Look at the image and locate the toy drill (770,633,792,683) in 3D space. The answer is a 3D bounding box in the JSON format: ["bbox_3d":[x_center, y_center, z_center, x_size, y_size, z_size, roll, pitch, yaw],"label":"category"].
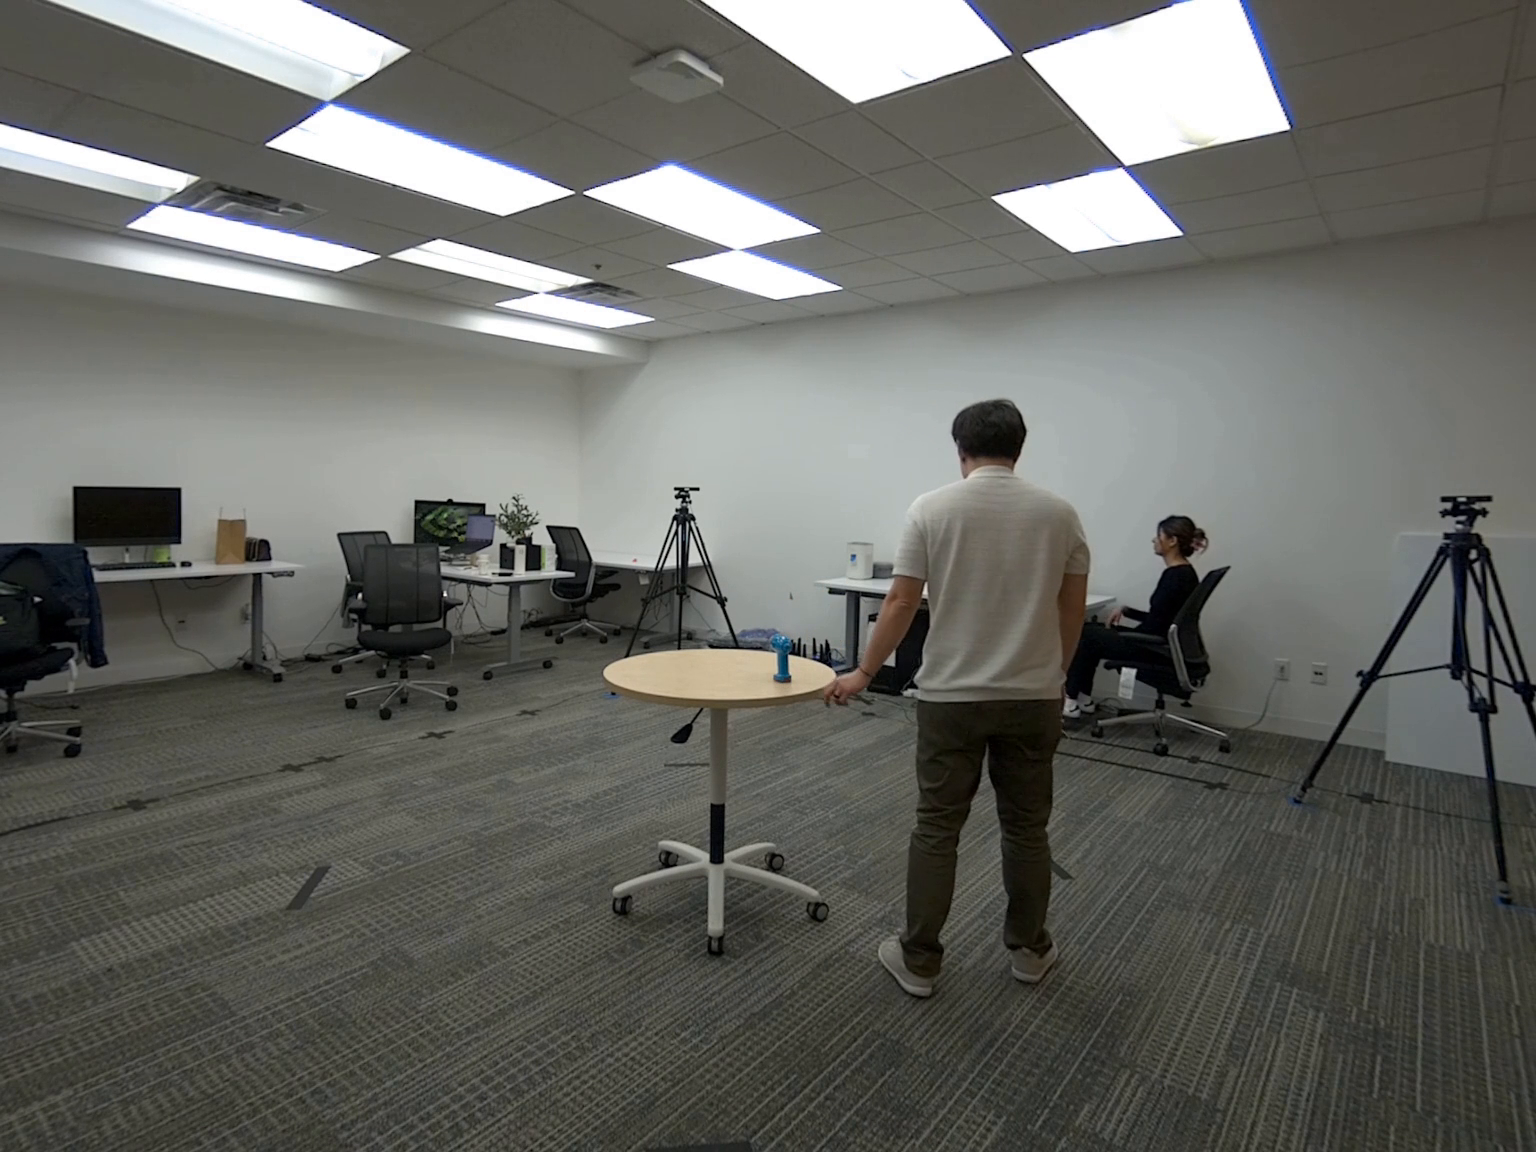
[{"bbox_3d":[0.023,0.250,2.718,0.060,0.145,0.173,-4,7,-18],"label":"toy drill"}]
